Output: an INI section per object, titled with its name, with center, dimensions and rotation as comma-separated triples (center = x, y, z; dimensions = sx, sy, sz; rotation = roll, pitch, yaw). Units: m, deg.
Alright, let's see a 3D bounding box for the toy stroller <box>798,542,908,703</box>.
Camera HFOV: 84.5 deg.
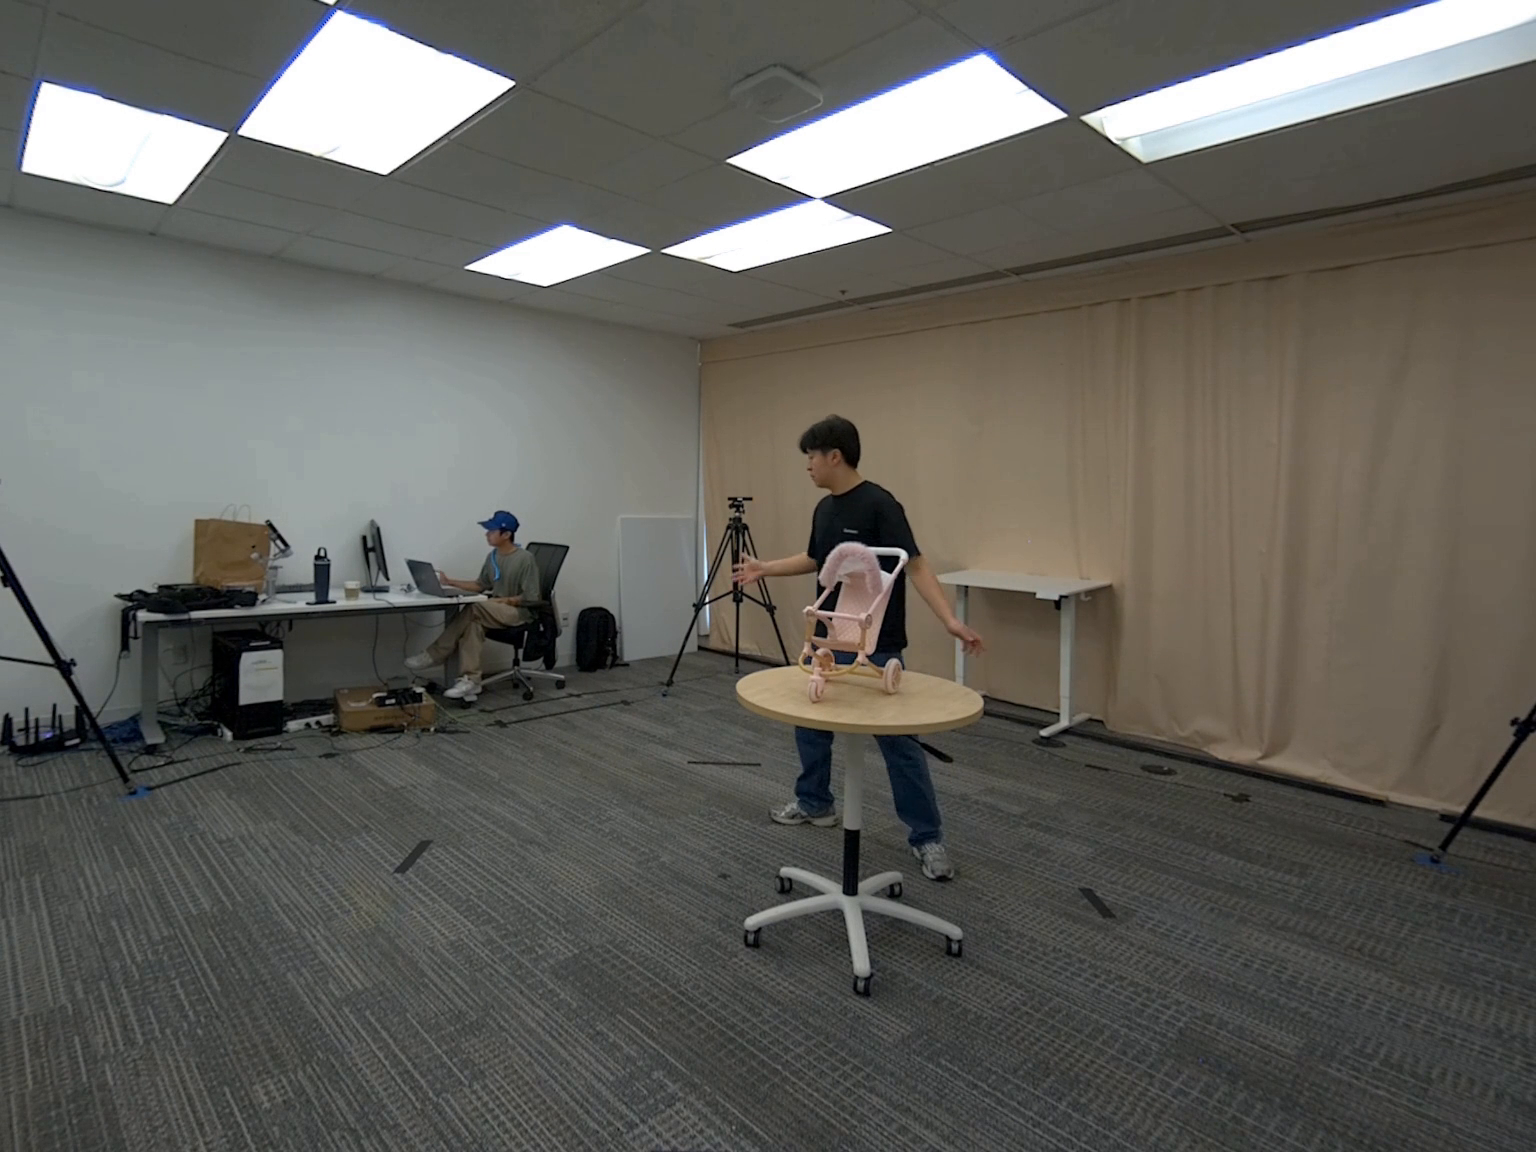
[toy stroller]
center = 0.242, 0.137, 2.625
dimensions = 0.288, 0.537, 0.331
rotation = 3, -10, 38
